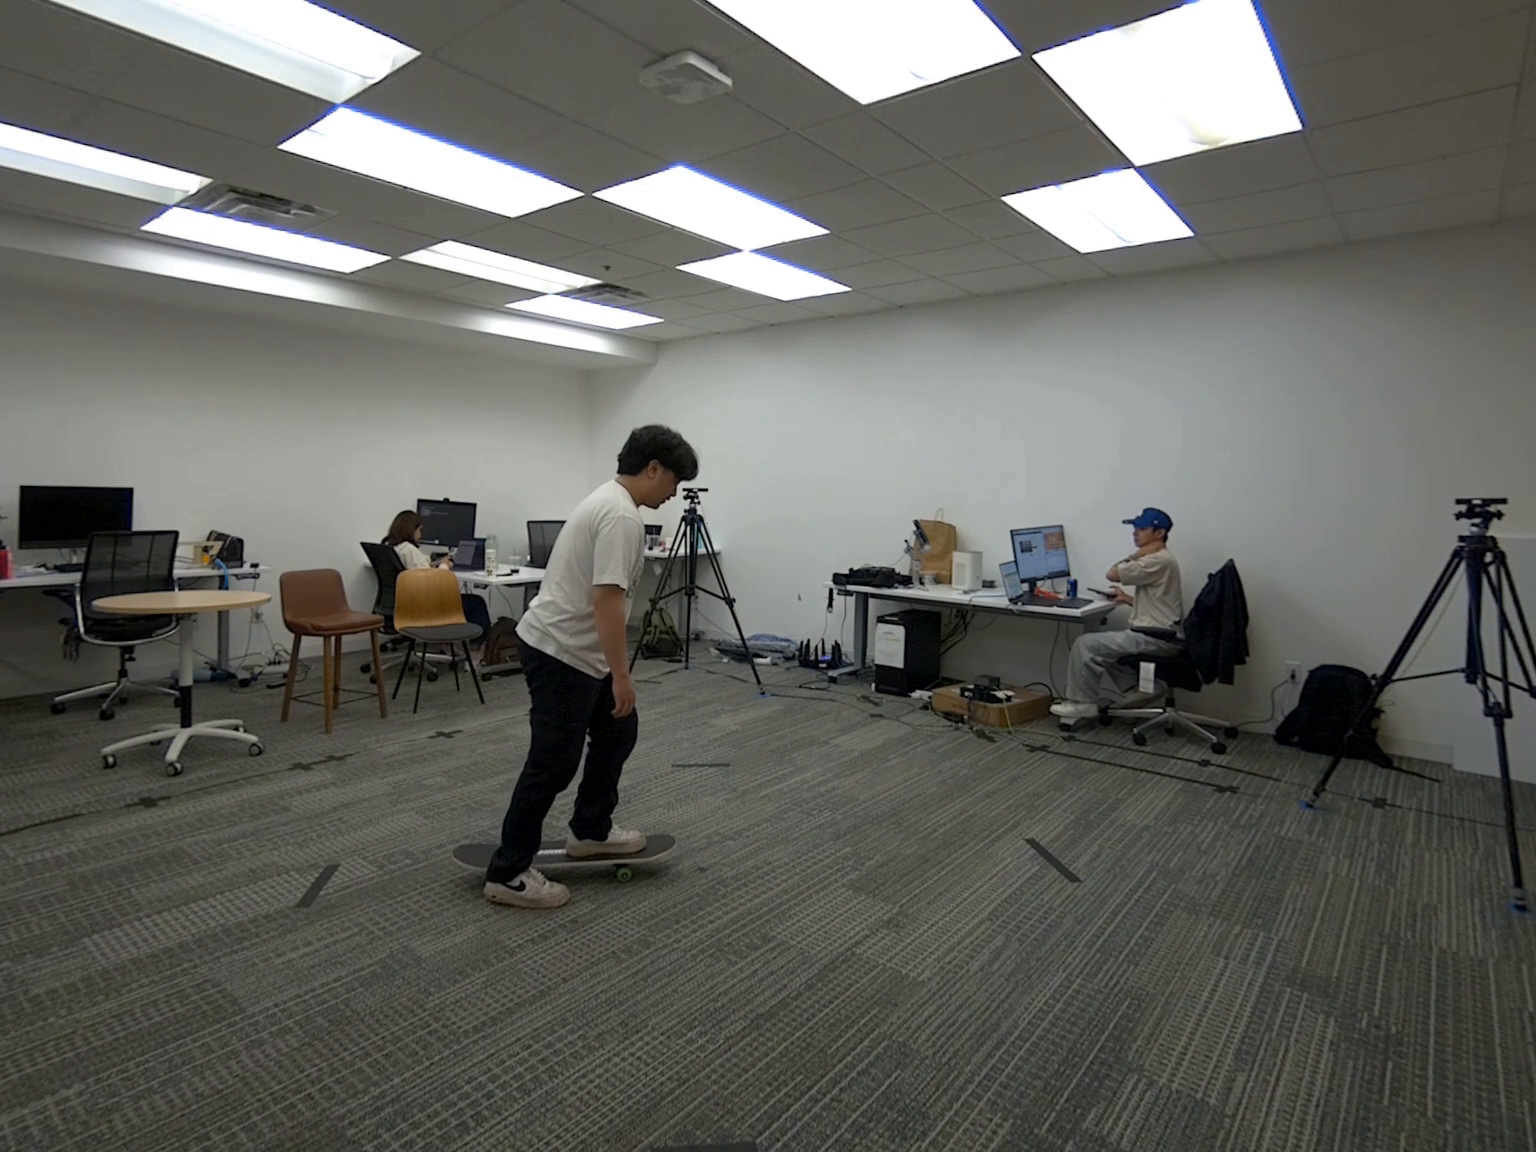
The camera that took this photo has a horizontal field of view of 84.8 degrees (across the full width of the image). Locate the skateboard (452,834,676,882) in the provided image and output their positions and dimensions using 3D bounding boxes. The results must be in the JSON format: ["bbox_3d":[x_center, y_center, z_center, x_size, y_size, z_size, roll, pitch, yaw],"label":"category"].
[{"bbox_3d":[-0.726,1.007,3.034,0.777,0.110,0.196,0,6,-10],"label":"skateboard"}]
